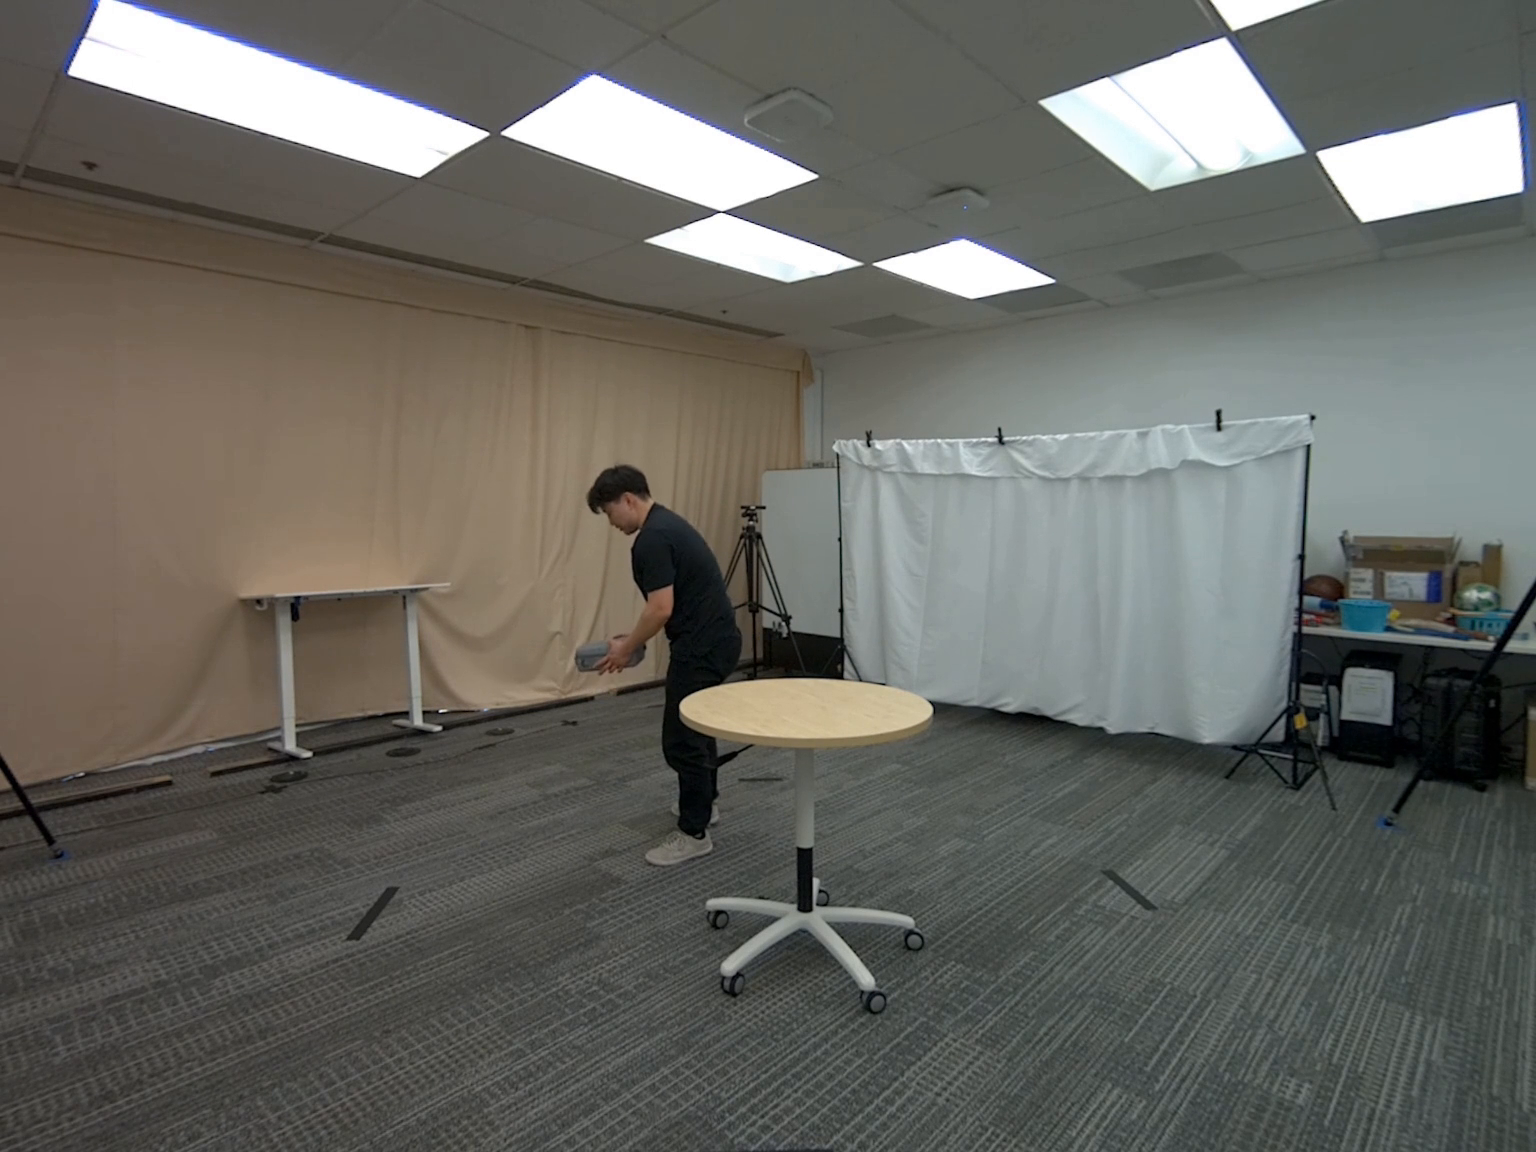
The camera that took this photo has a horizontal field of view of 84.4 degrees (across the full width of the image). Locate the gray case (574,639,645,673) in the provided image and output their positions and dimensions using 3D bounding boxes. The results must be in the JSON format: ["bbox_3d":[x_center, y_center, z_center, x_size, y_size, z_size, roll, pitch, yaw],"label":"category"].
[{"bbox_3d":[-0.645,0.325,3.460,0.262,0.104,0.256,-6,4,6],"label":"gray case"}]
